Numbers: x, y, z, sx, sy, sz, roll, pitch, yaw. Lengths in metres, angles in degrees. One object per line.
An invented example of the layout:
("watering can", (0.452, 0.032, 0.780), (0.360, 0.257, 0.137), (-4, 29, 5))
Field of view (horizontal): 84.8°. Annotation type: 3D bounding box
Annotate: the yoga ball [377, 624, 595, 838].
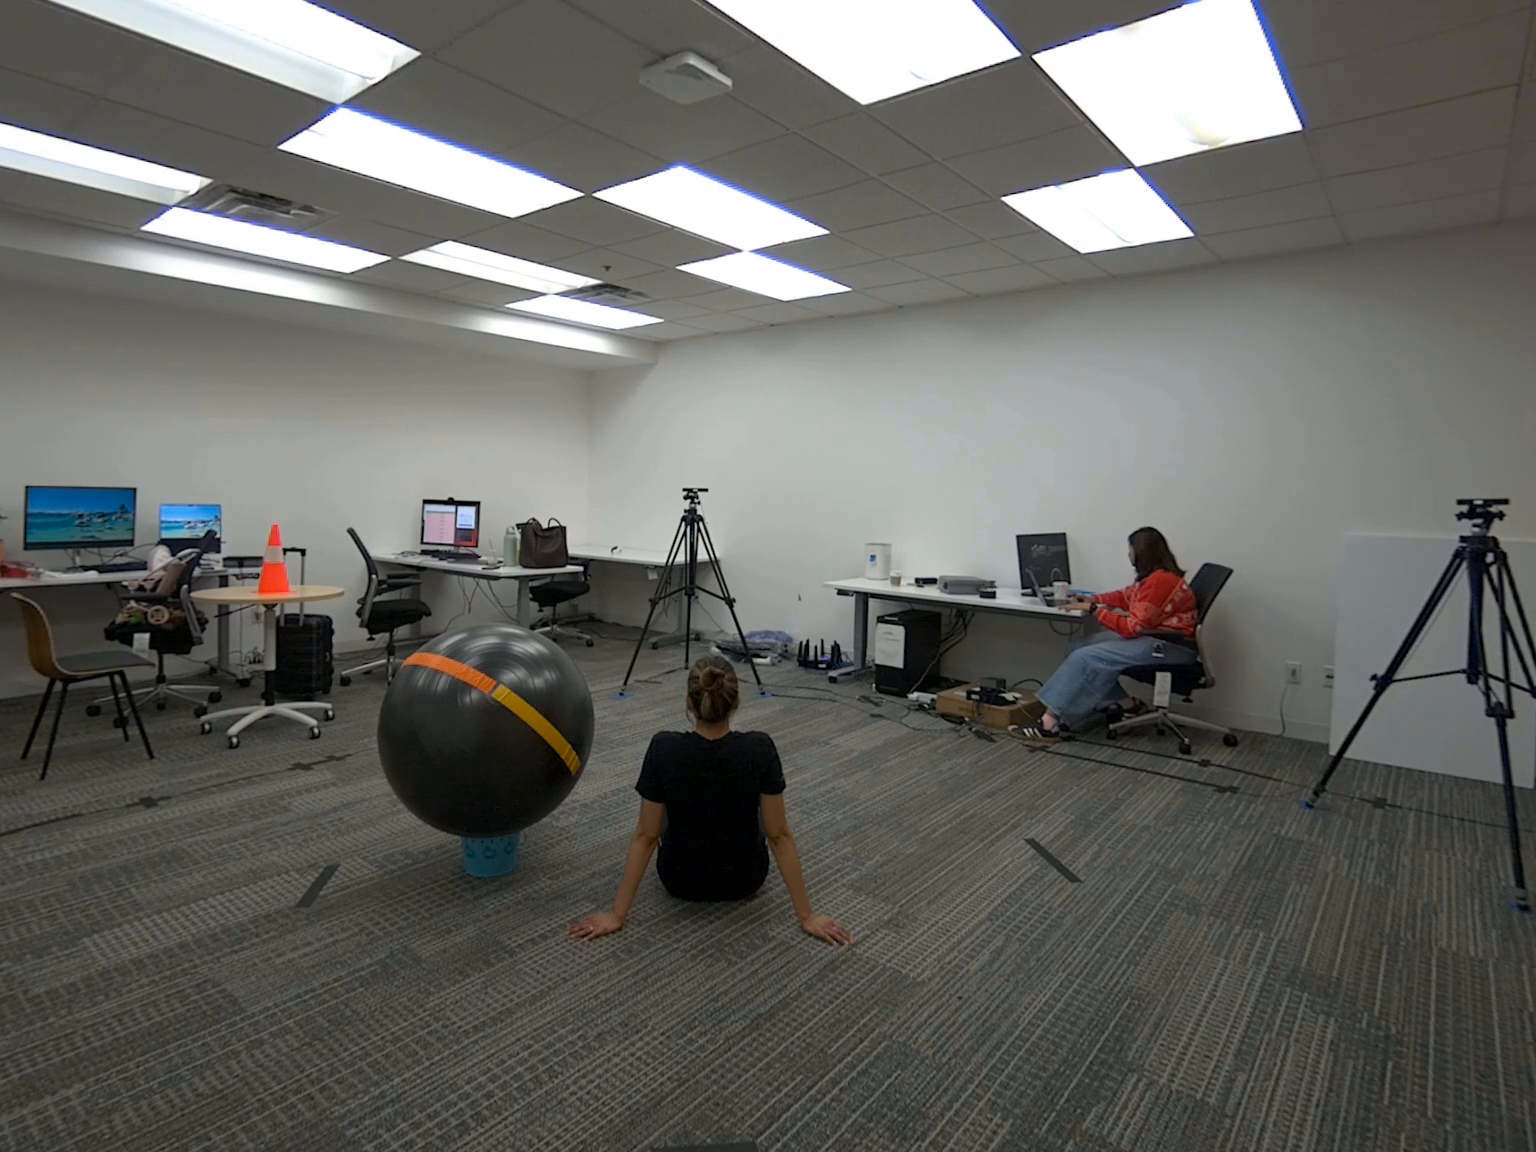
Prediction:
("yoga ball", (-1.021, 0.551, 3.078), (0.757, 0.756, 0.762), (1, 4, -2))
